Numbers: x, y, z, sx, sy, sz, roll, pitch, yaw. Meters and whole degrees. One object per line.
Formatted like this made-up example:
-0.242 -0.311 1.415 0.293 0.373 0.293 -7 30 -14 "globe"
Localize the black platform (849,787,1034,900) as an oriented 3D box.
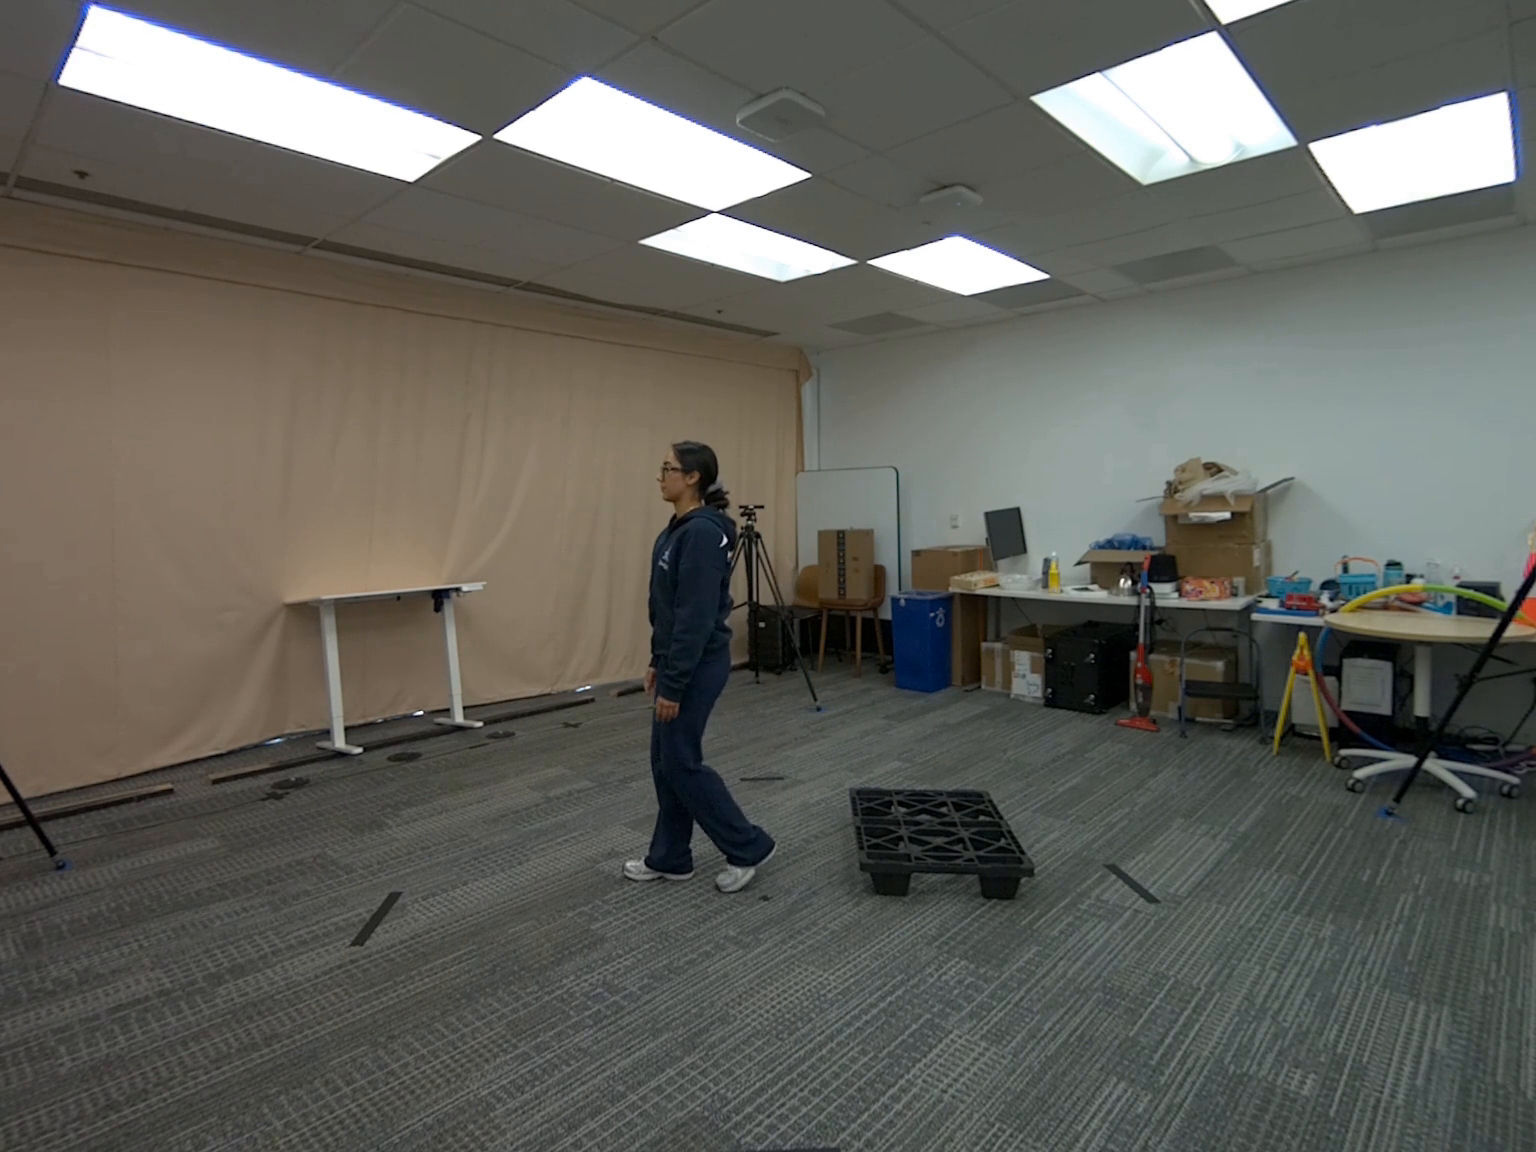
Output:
0.646 1.033 3.316 0.609 0.143 0.803 0 5 4 "black platform"
